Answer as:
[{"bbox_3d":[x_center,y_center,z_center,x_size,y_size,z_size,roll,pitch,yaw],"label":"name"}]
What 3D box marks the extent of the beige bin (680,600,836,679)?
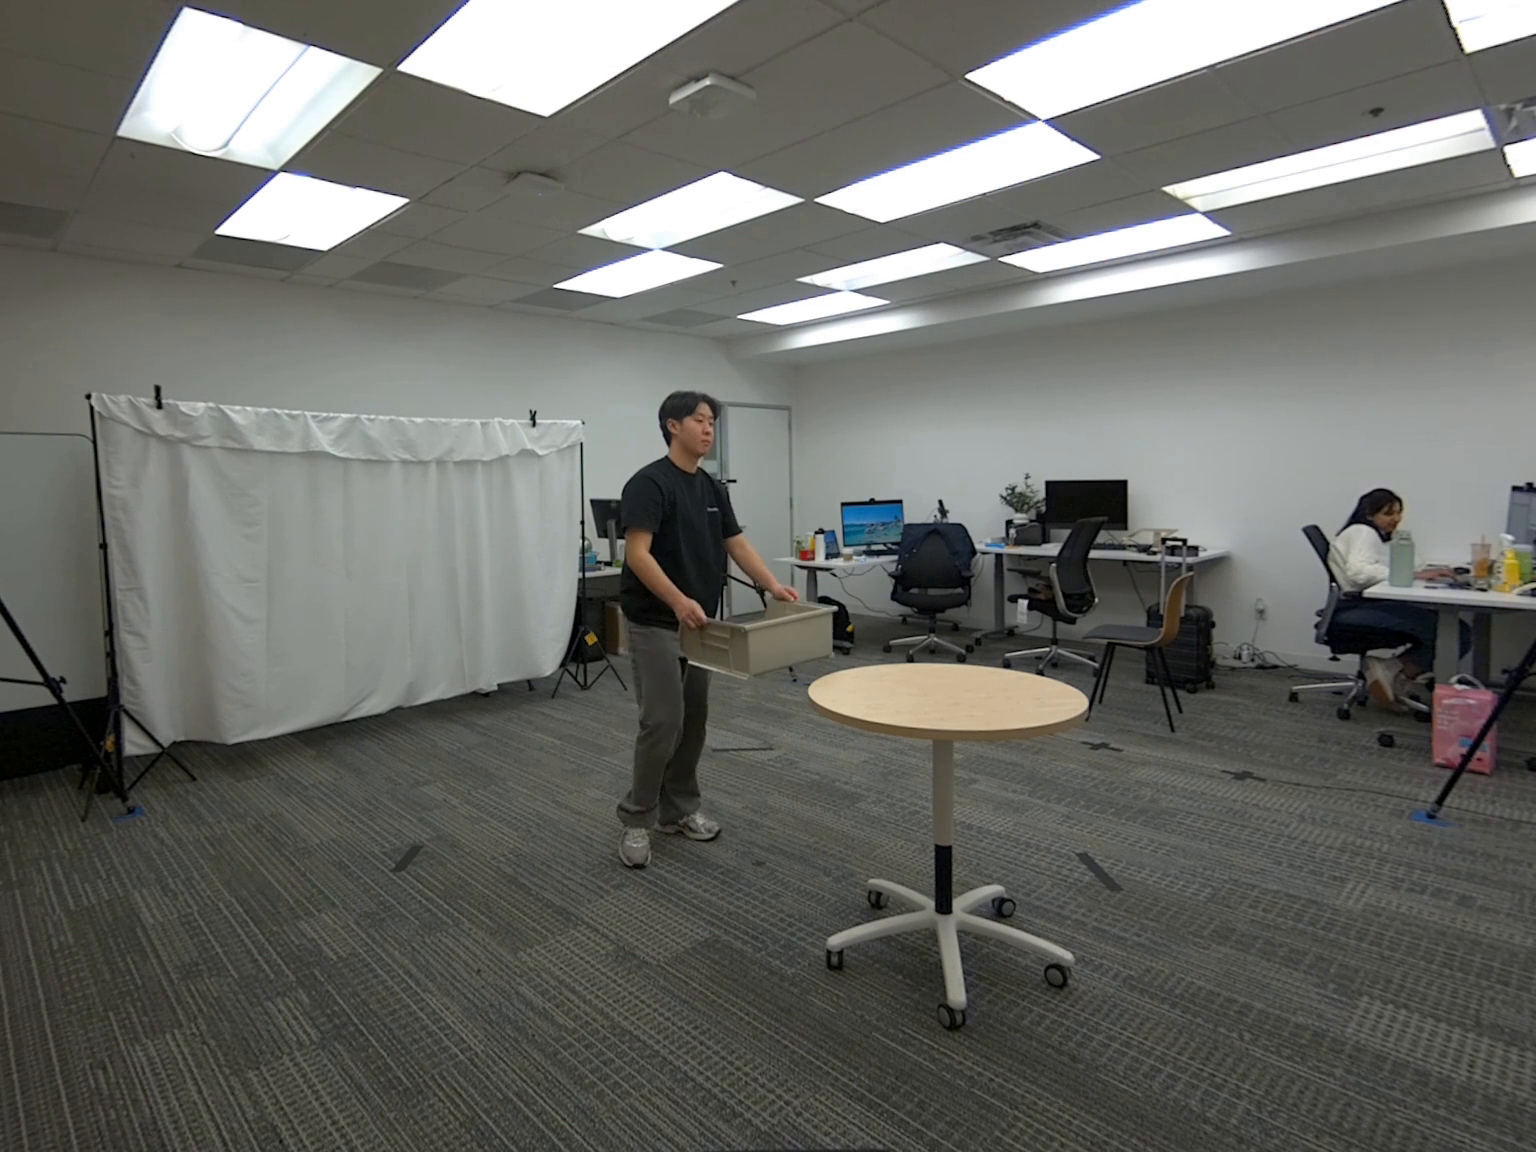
[{"bbox_3d":[-0.033,0.215,2.968,0.411,0.188,0.389,-7,9,-41],"label":"beige bin"}]
